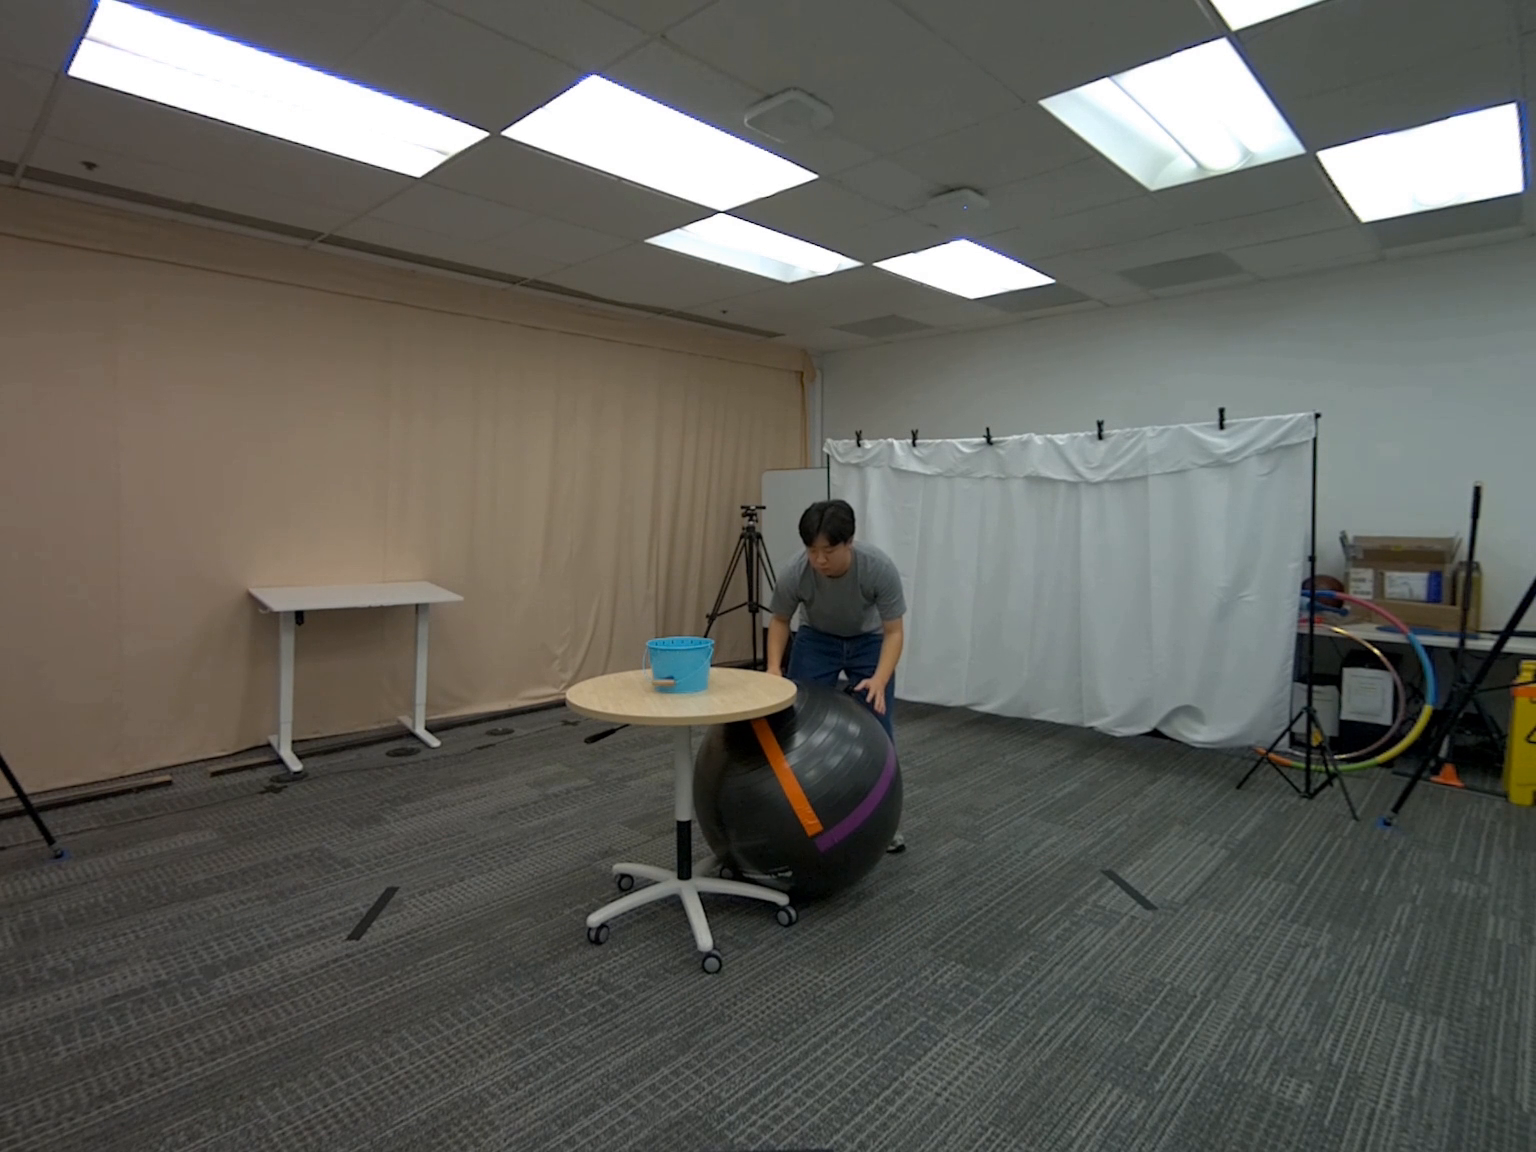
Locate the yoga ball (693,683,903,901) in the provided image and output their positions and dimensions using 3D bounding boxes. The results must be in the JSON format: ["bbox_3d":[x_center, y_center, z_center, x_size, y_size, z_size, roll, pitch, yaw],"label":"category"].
[{"bbox_3d":[0.121,0.768,3.057,0.757,0.756,0.760,0,4,-2],"label":"yoga ball"}]
